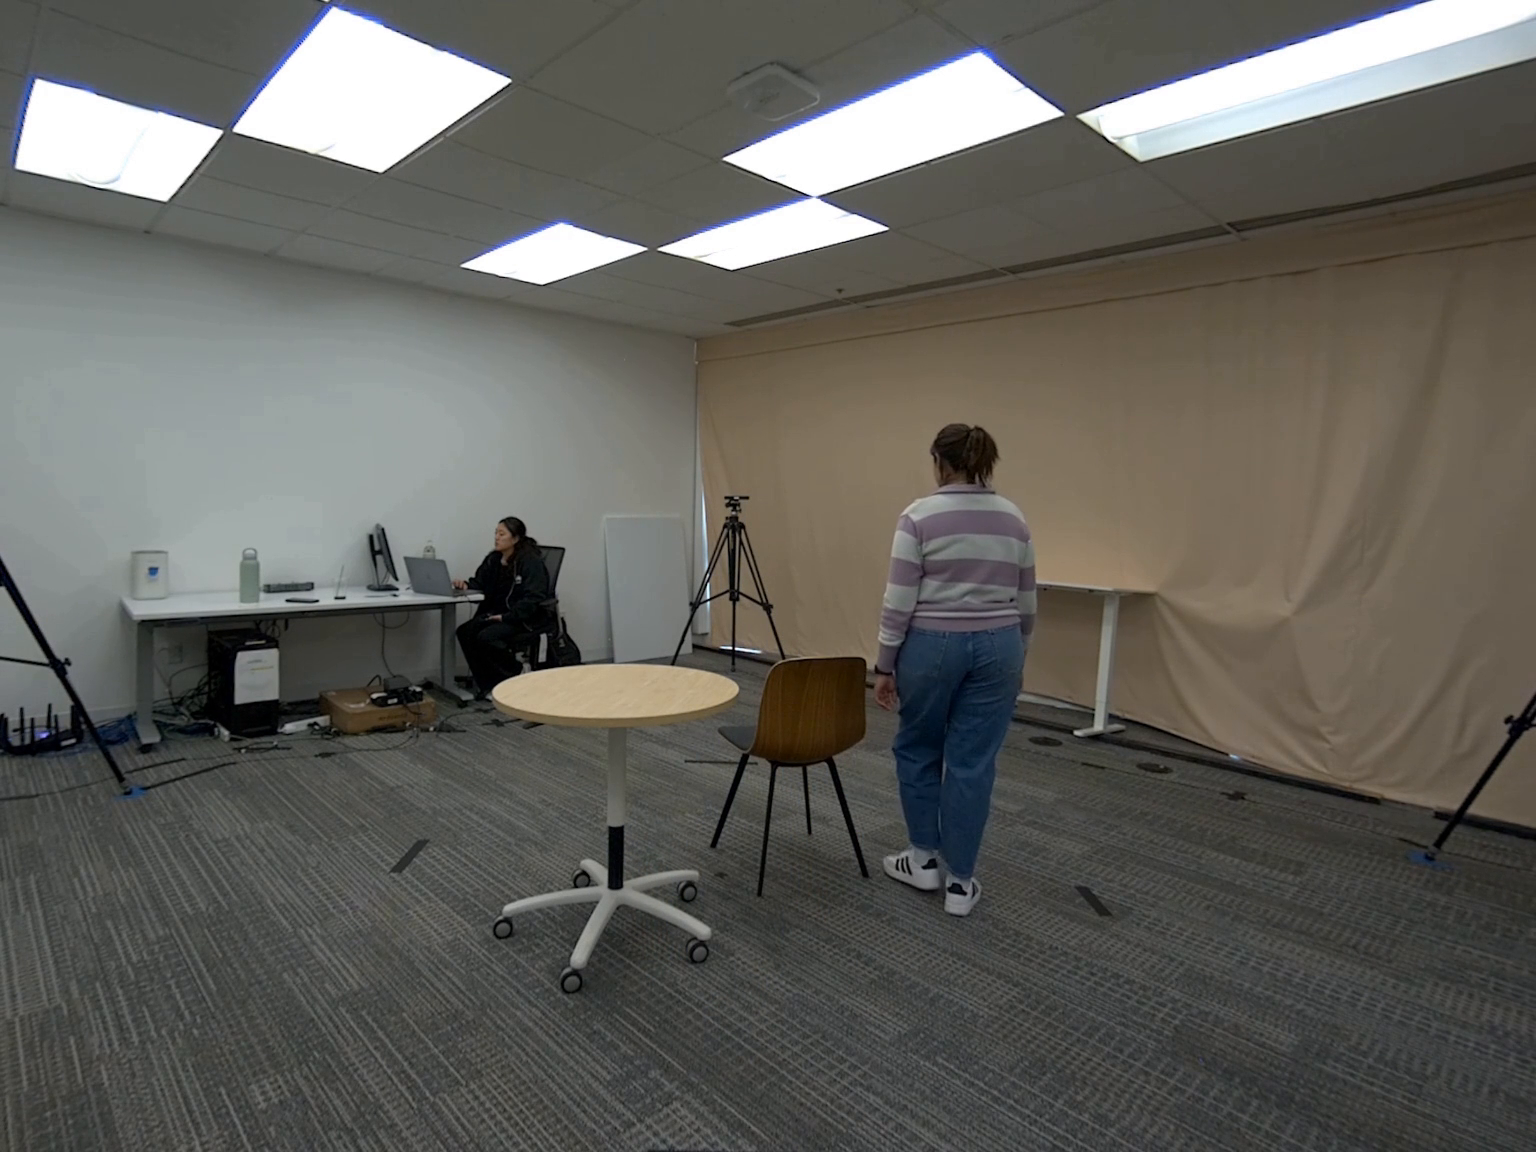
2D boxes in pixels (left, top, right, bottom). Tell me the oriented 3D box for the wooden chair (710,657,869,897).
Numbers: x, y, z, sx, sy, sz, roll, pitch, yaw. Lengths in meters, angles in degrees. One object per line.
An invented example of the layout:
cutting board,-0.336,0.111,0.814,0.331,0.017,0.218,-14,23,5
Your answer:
wooden chair,0.074,0.671,3.205,0.470,0.873,0.535,0,8,-25
